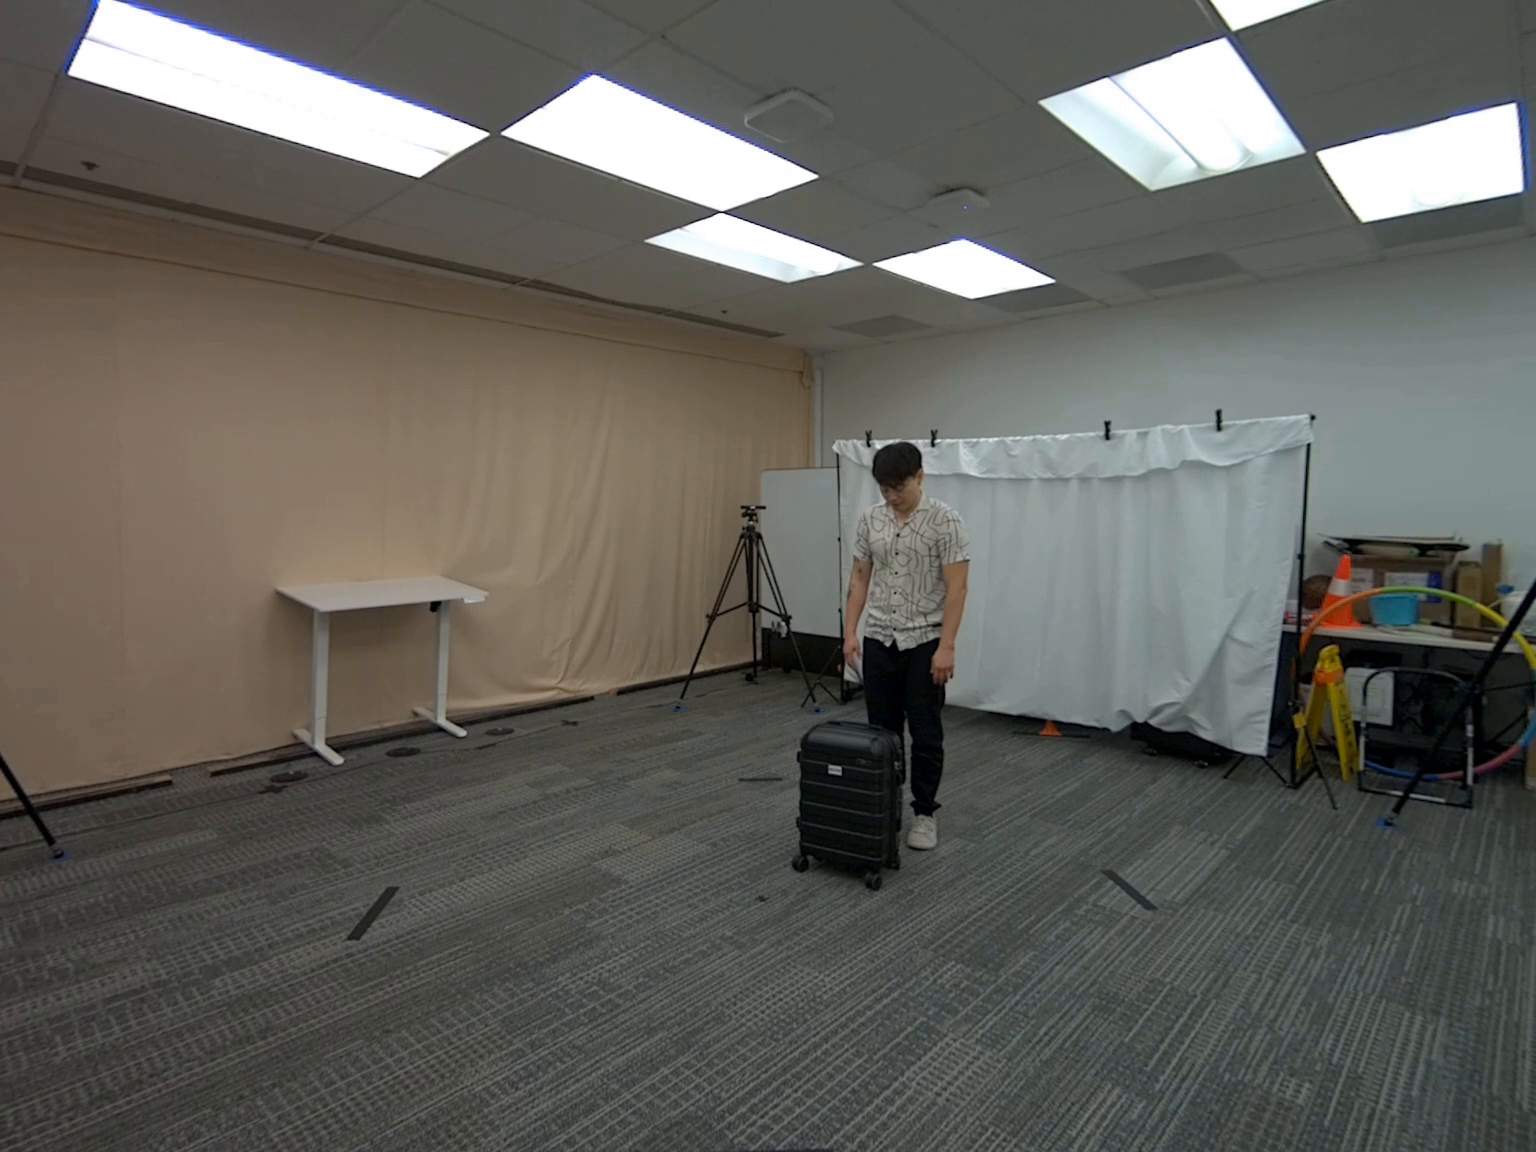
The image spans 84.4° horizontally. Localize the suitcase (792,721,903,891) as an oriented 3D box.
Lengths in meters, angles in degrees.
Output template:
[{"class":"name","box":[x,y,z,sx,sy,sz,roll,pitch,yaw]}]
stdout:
[{"class":"suitcase","box":[0.320,0.847,3.224,0.386,0.548,0.241,3,3,30]}]
